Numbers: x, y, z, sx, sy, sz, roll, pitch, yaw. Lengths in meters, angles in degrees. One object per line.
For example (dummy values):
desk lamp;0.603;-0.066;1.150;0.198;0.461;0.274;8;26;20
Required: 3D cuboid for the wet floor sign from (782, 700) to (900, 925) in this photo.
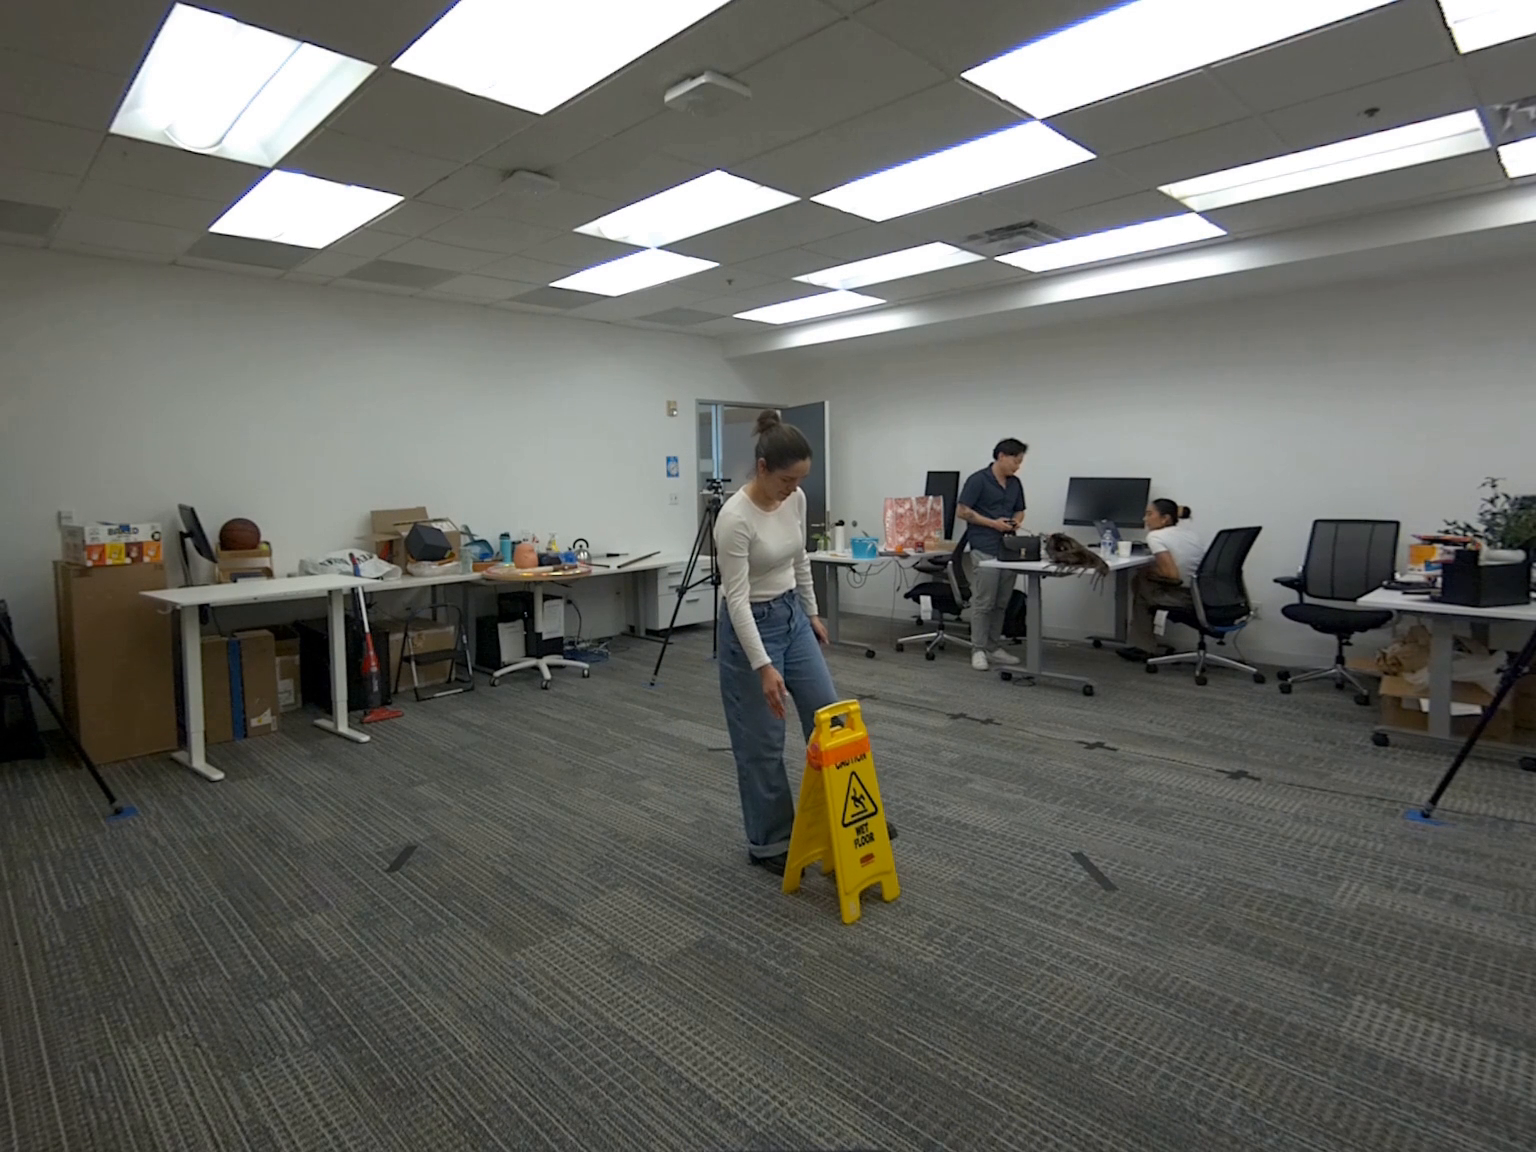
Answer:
wet floor sign;0.233;0.746;2.840;0.275;0.644;0.298;-5;5;-43
